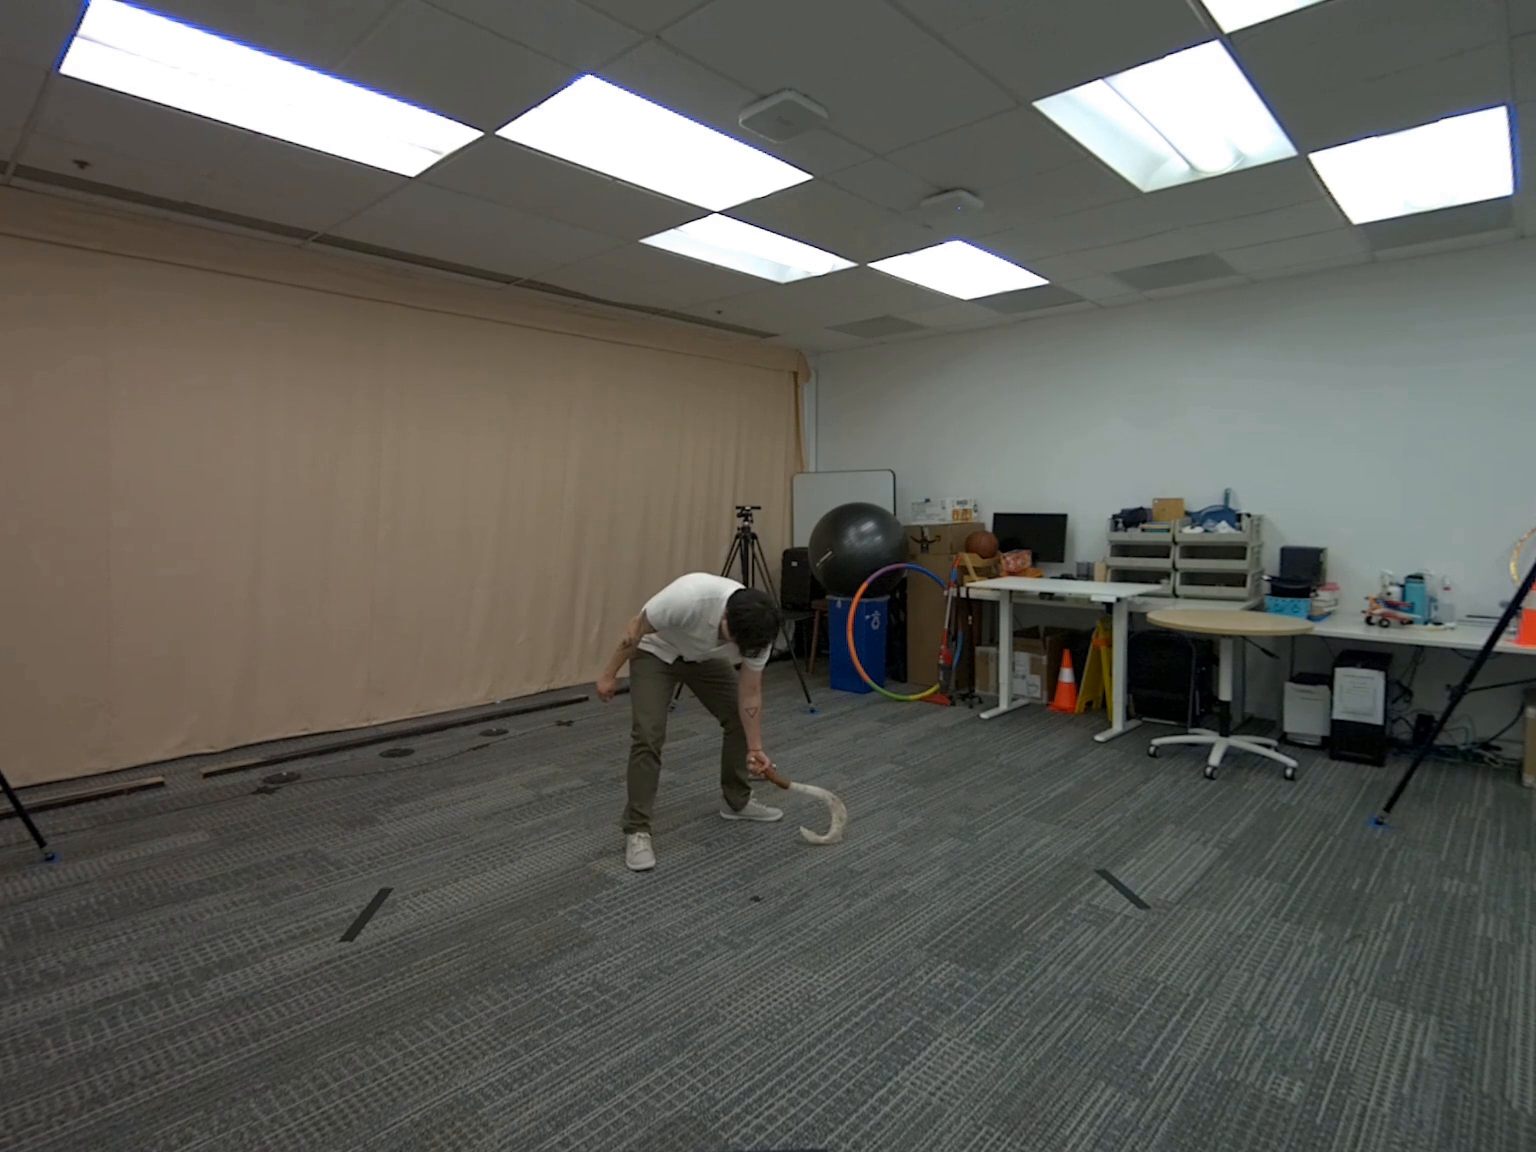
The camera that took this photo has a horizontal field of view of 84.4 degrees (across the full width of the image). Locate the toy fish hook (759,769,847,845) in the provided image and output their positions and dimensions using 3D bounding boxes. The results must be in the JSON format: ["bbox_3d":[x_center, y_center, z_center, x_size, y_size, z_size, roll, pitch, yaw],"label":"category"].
[{"bbox_3d":[0.116,0.934,3.457,0.500,0.225,0.049,30,-35,-10],"label":"toy fish hook"}]
